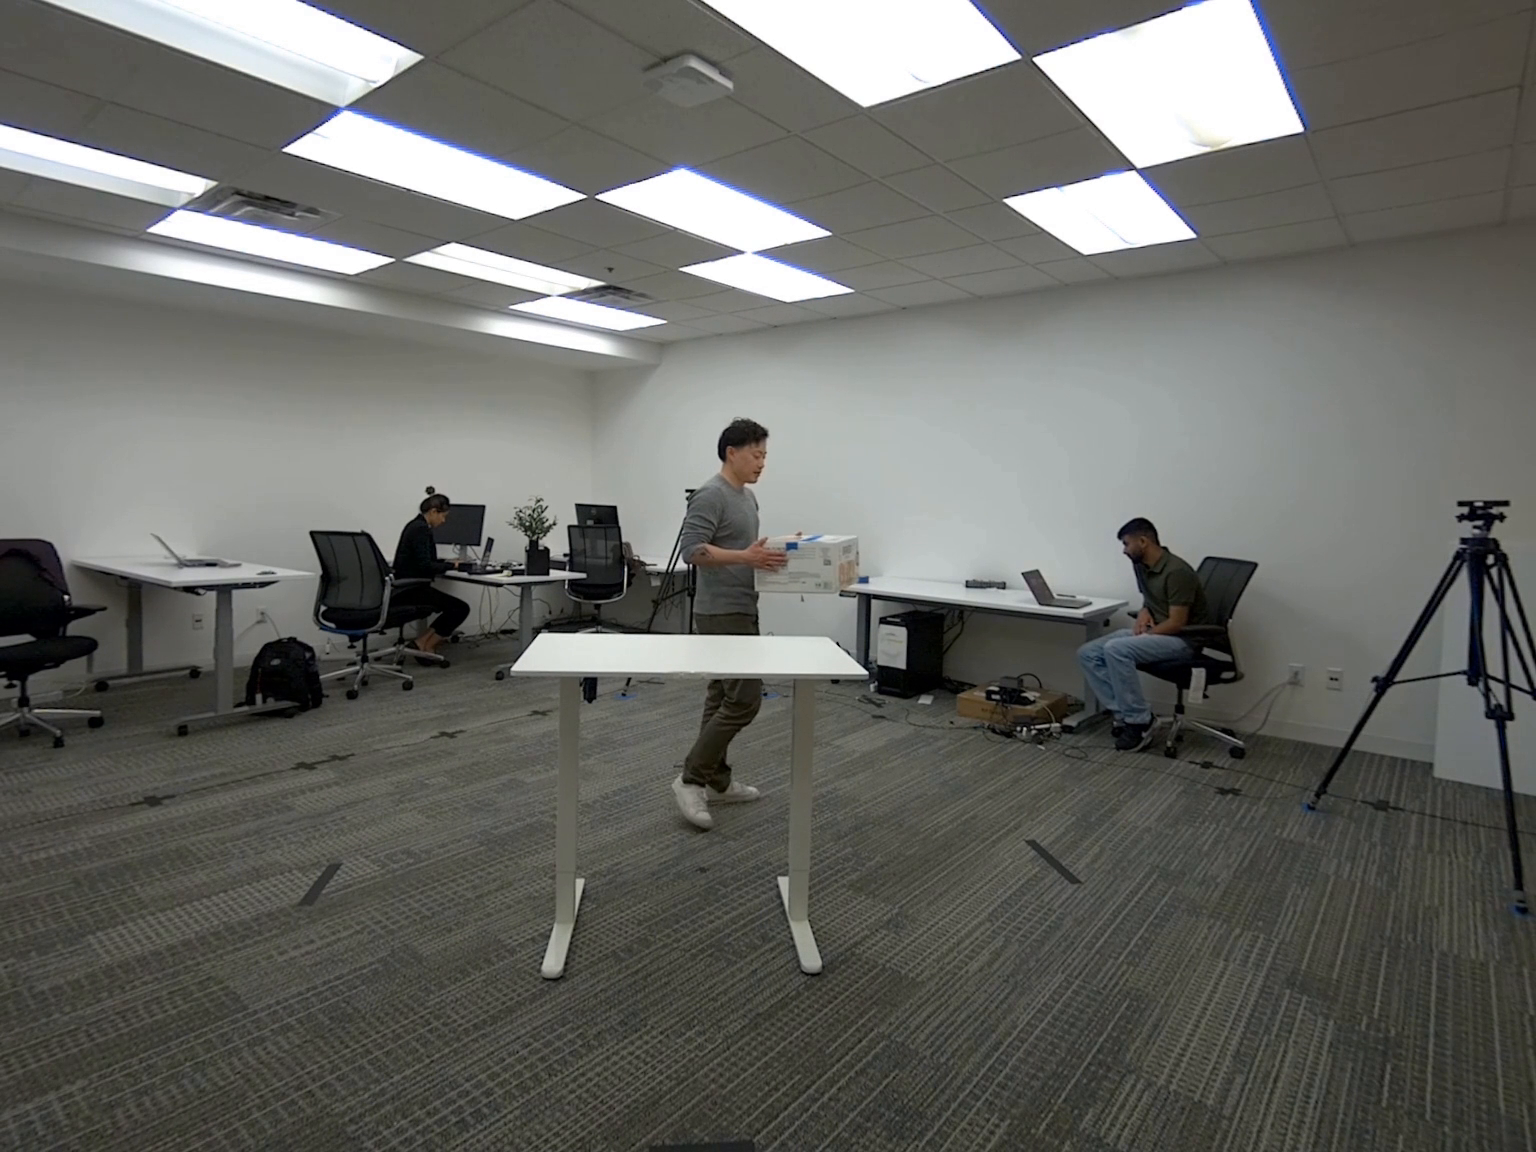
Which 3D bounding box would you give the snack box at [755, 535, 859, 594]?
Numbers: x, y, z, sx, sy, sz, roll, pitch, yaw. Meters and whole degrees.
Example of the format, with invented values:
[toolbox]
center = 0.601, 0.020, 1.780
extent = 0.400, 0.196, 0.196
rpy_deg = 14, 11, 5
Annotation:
[snack box]
center = 0.158, -0.057, 3.561
extent = 0.348, 0.205, 0.398
rpy_deg = 0, 6, 22
